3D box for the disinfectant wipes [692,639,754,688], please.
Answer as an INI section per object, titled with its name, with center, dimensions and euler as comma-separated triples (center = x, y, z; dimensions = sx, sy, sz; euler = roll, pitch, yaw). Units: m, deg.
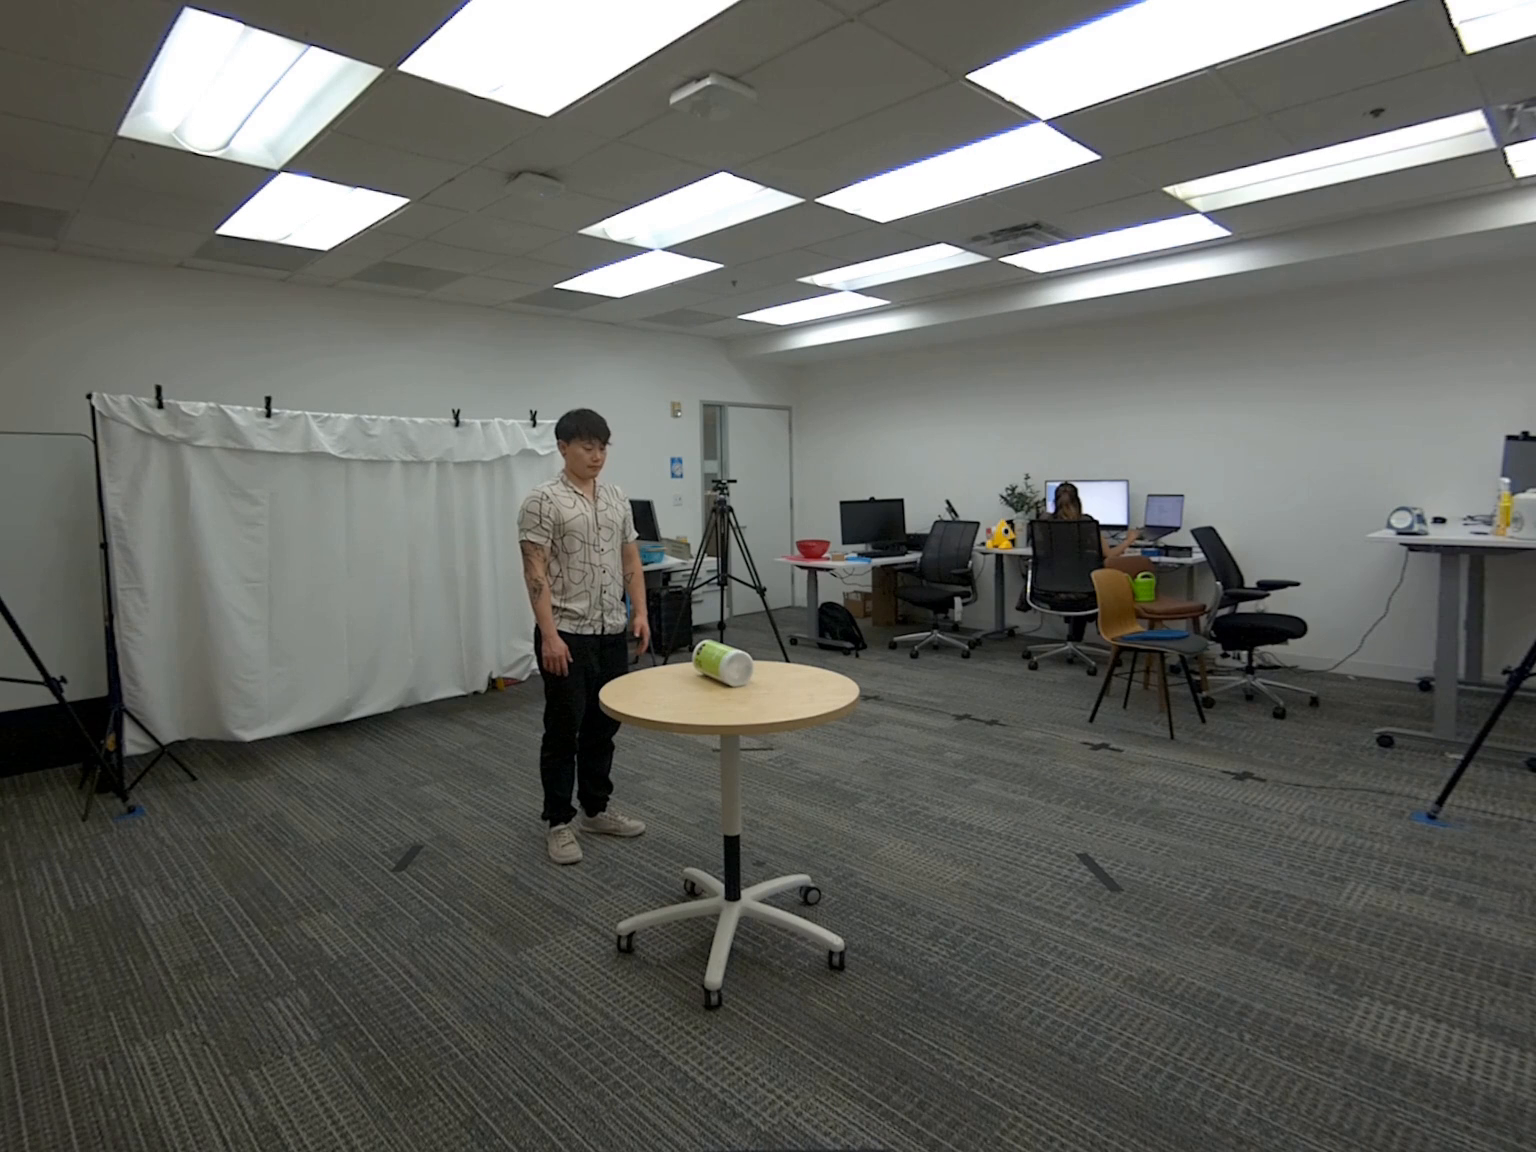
[disinfectant wipes]
center = -0.139, 0.264, 2.635
dimensions = 0.115, 0.117, 0.223
euler = -3, 7, -28
